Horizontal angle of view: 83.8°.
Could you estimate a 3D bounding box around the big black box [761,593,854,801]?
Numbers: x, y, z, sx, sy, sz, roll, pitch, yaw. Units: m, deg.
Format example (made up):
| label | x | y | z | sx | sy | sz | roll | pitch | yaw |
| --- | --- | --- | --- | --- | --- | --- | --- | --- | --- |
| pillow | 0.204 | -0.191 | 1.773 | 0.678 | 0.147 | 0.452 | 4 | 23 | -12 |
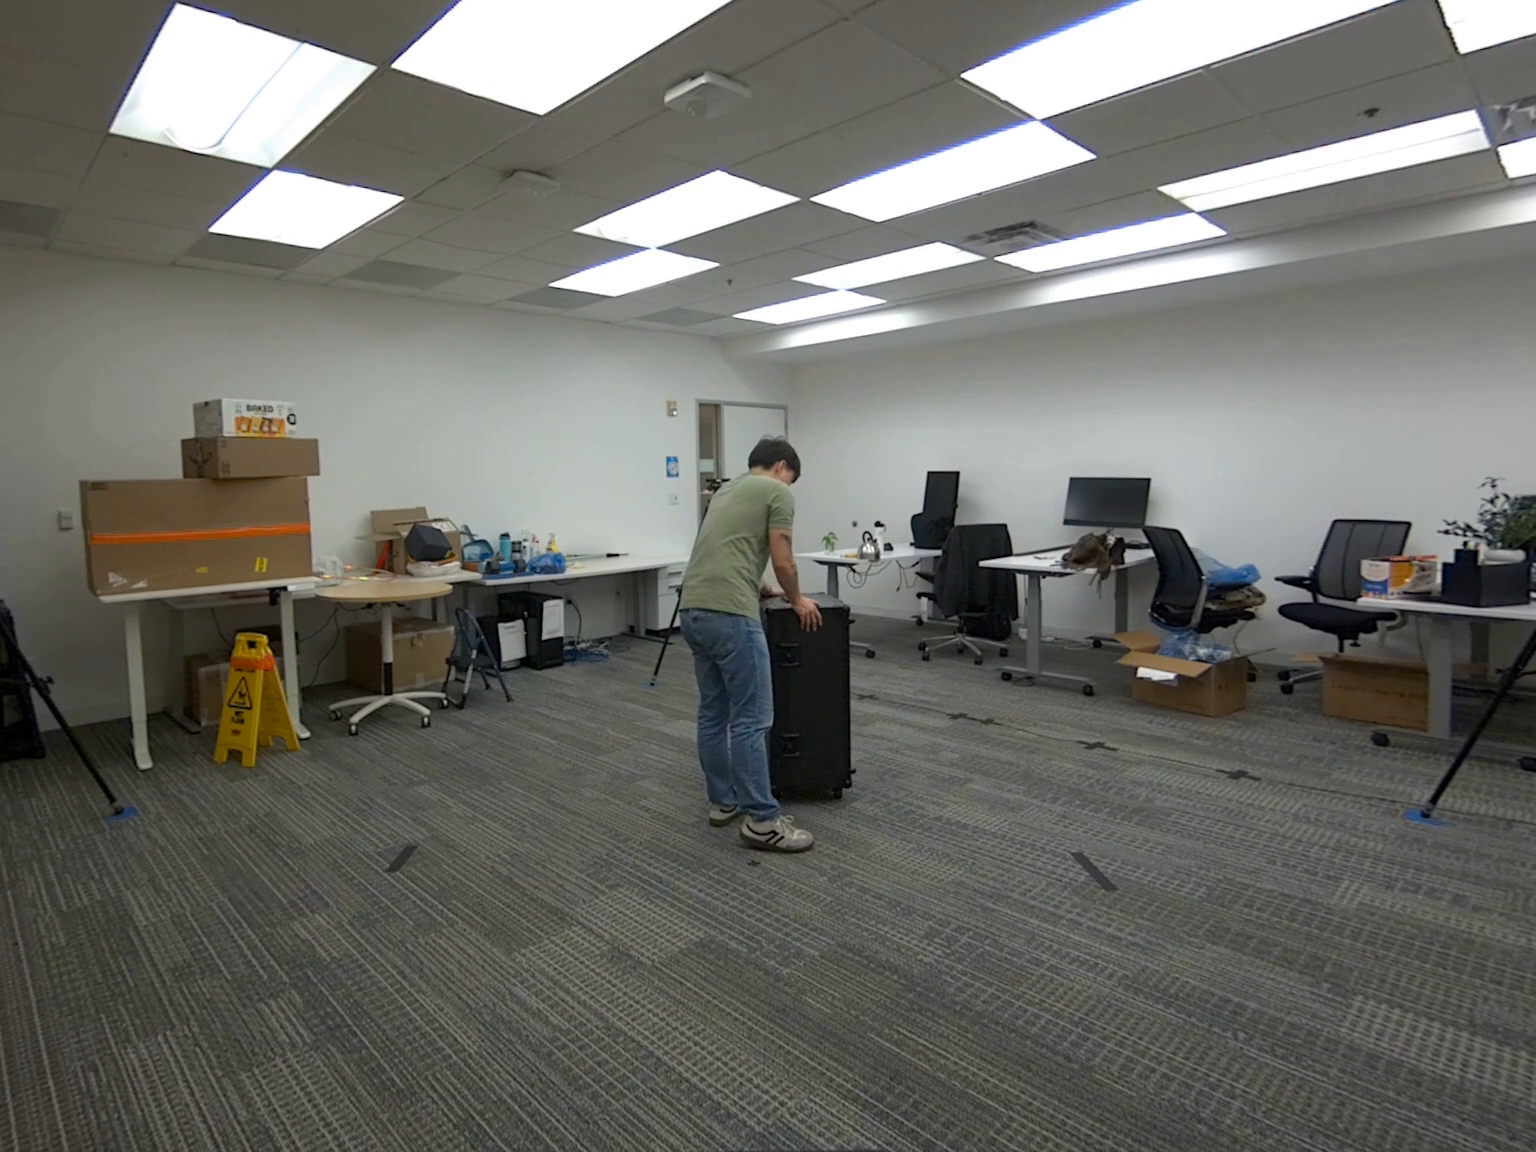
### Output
| label | x | y | z | sx | sy | sz | roll | pitch | yaw |
| --- | --- | --- | --- | --- | --- | --- | --- | --- | --- |
| big black box | 0.155 | 0.534 | 3.852 | 0.394 | 0.859 | 0.525 | 0 | 3 | -6 |
